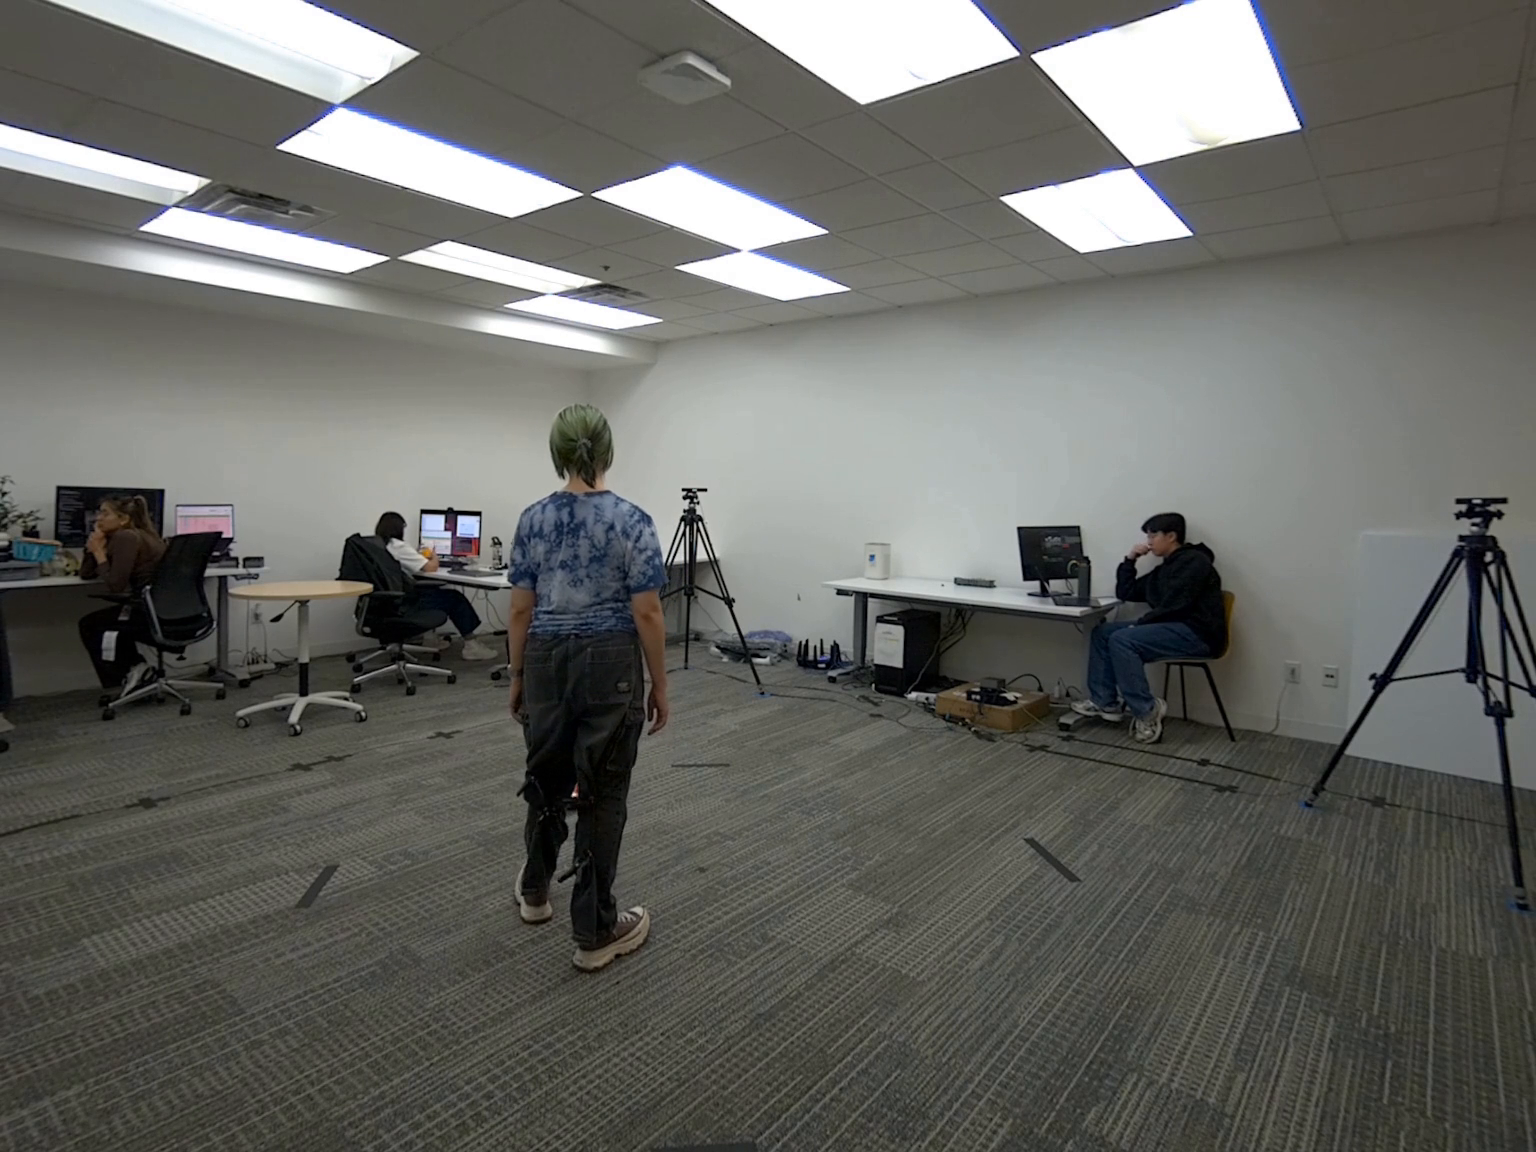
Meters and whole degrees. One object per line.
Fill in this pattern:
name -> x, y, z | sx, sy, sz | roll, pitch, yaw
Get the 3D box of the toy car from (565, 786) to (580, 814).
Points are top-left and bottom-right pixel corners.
toy car -> -0.821, 0.962, 3.738 | 0.134, 0.083, 0.246 | 3, -6, 26
